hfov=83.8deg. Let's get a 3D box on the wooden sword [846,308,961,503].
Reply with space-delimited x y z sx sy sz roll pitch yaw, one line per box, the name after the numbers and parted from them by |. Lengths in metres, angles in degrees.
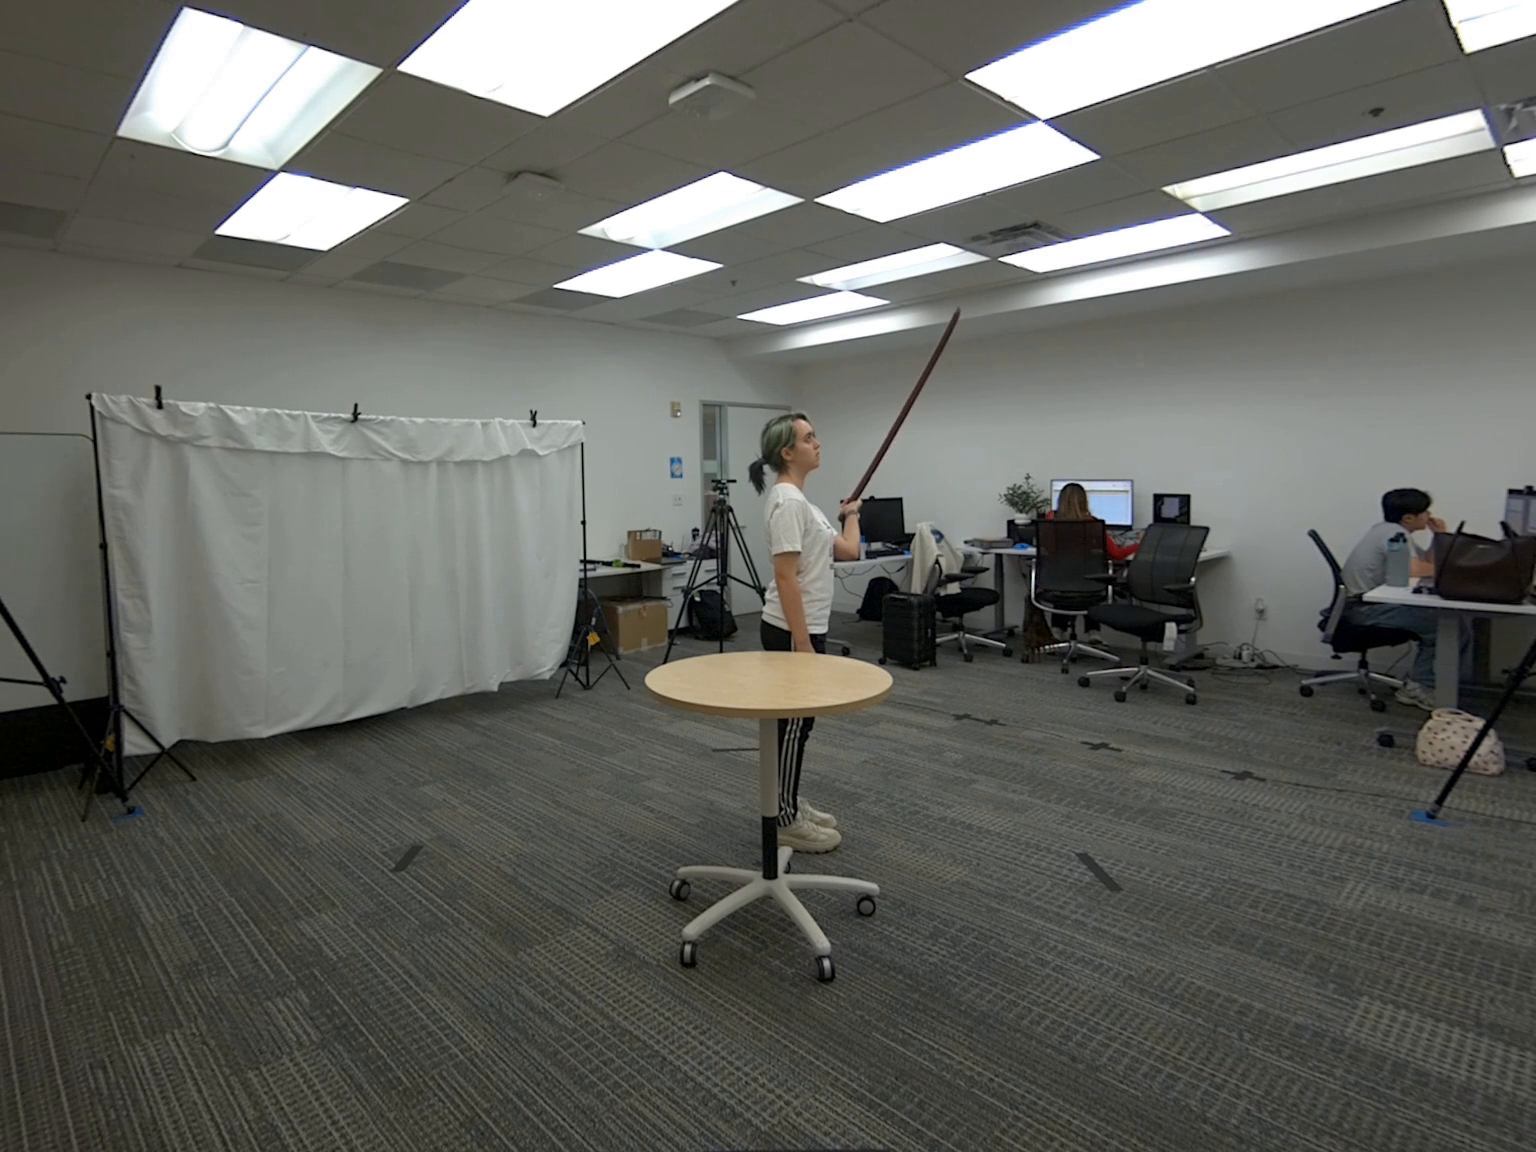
0.506 -0.576 3.289 0.023 0.053 1.012 0 -42 -27 | wooden sword
